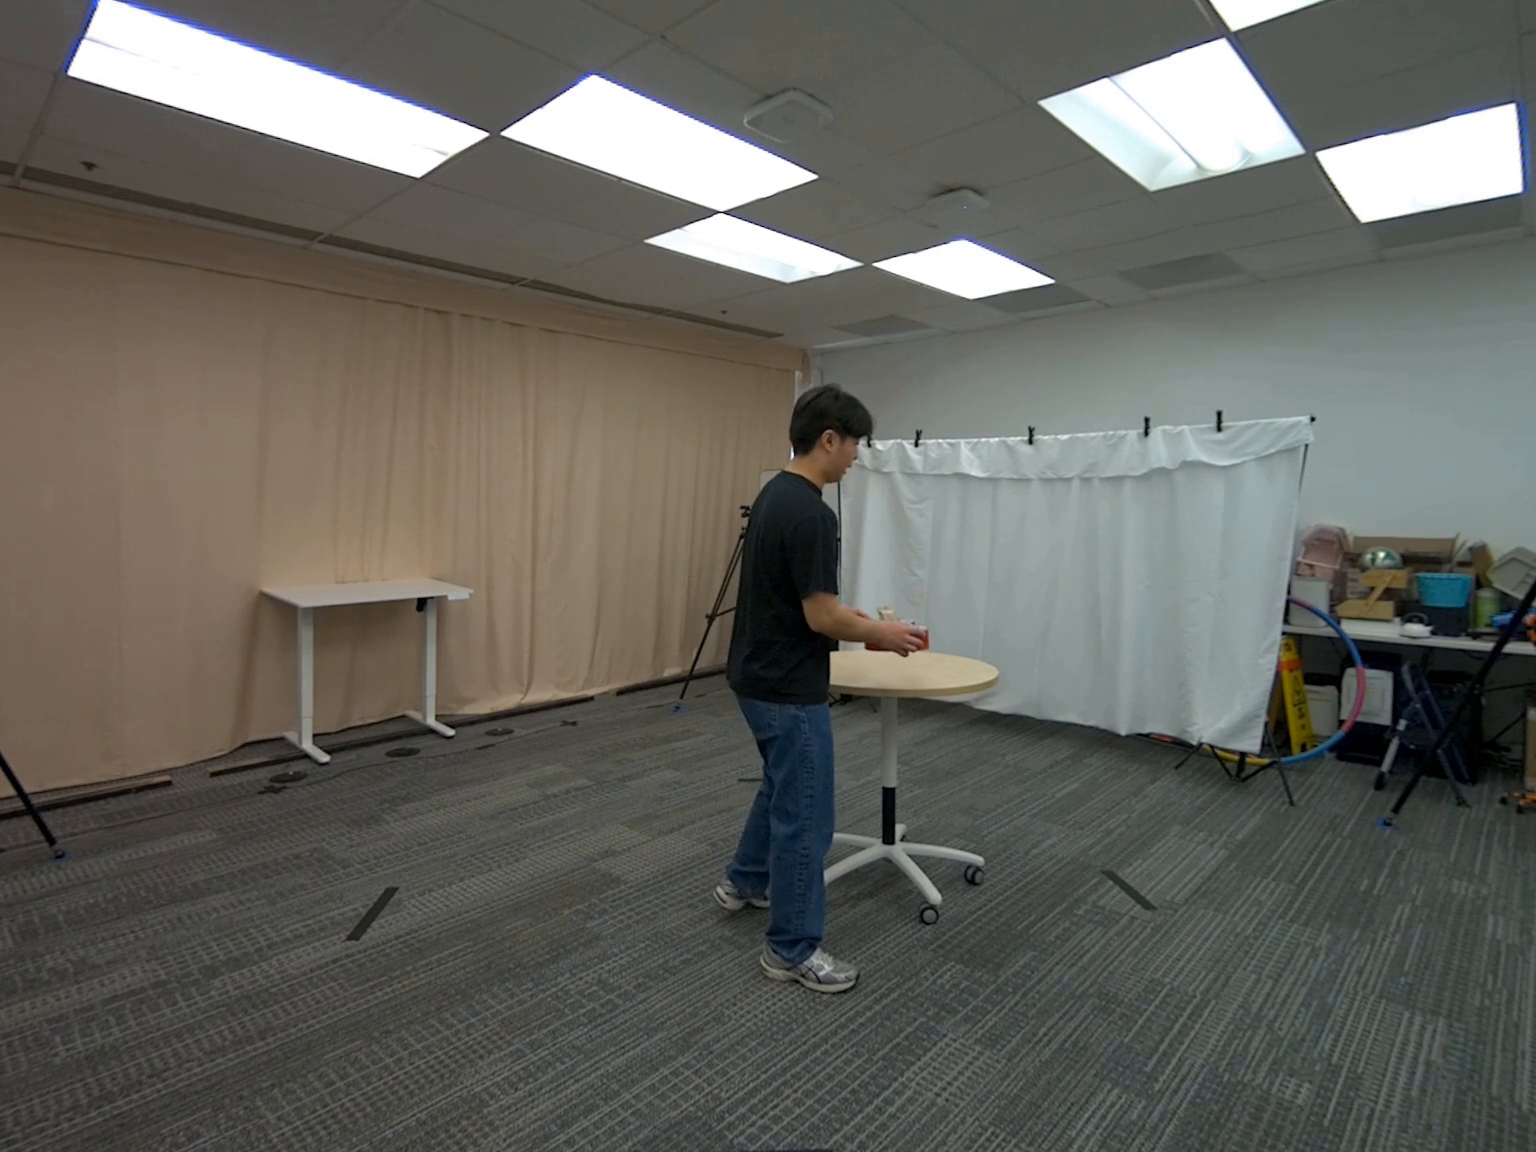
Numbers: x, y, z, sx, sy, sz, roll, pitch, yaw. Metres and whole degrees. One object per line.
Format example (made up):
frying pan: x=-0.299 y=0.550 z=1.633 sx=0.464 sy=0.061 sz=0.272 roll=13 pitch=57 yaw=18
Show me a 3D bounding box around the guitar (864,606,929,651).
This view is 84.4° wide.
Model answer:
guitar: x=0.432 y=0.160 z=2.766 sx=0.196 sy=0.070 sz=0.490 roll=-4 pitch=5 yaw=16
